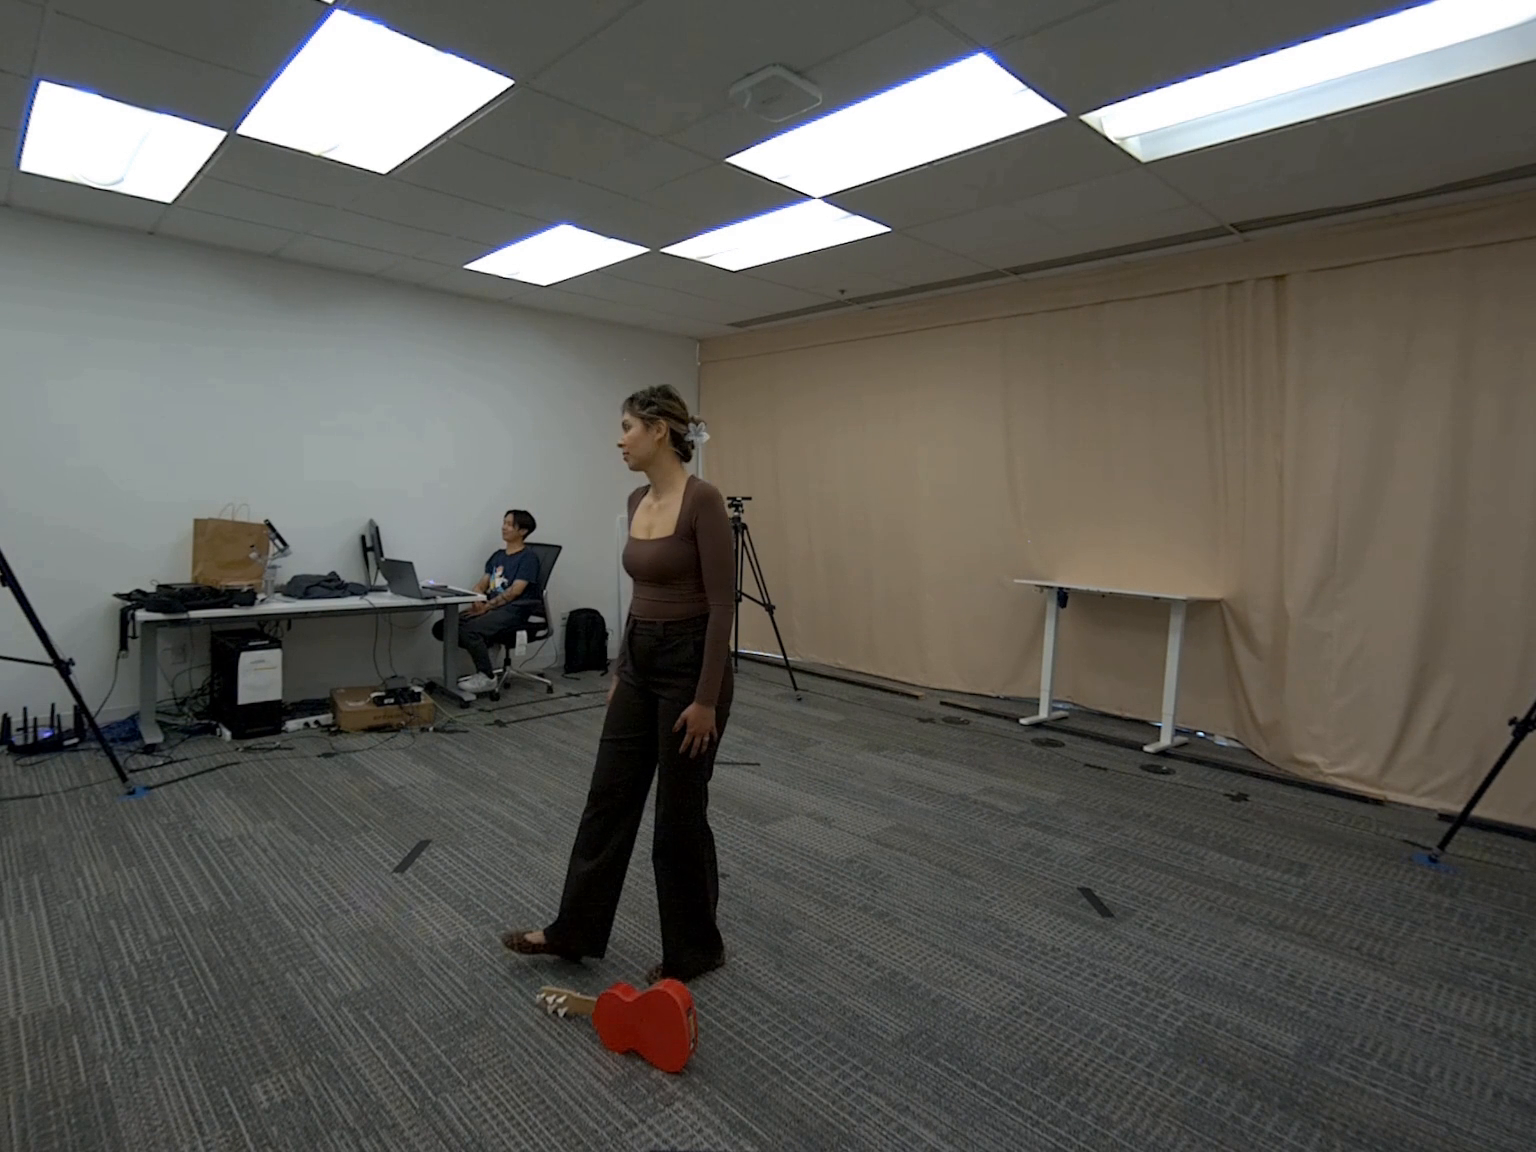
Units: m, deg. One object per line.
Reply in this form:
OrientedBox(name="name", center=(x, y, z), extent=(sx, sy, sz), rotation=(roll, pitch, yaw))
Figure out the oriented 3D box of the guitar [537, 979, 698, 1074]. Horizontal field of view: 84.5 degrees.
OrientedBox(name="guitar", center=(-0.406, 1.154, 2.145), extent=(0.504, 0.194, 0.069), rotation=(-17, -7, 26))
